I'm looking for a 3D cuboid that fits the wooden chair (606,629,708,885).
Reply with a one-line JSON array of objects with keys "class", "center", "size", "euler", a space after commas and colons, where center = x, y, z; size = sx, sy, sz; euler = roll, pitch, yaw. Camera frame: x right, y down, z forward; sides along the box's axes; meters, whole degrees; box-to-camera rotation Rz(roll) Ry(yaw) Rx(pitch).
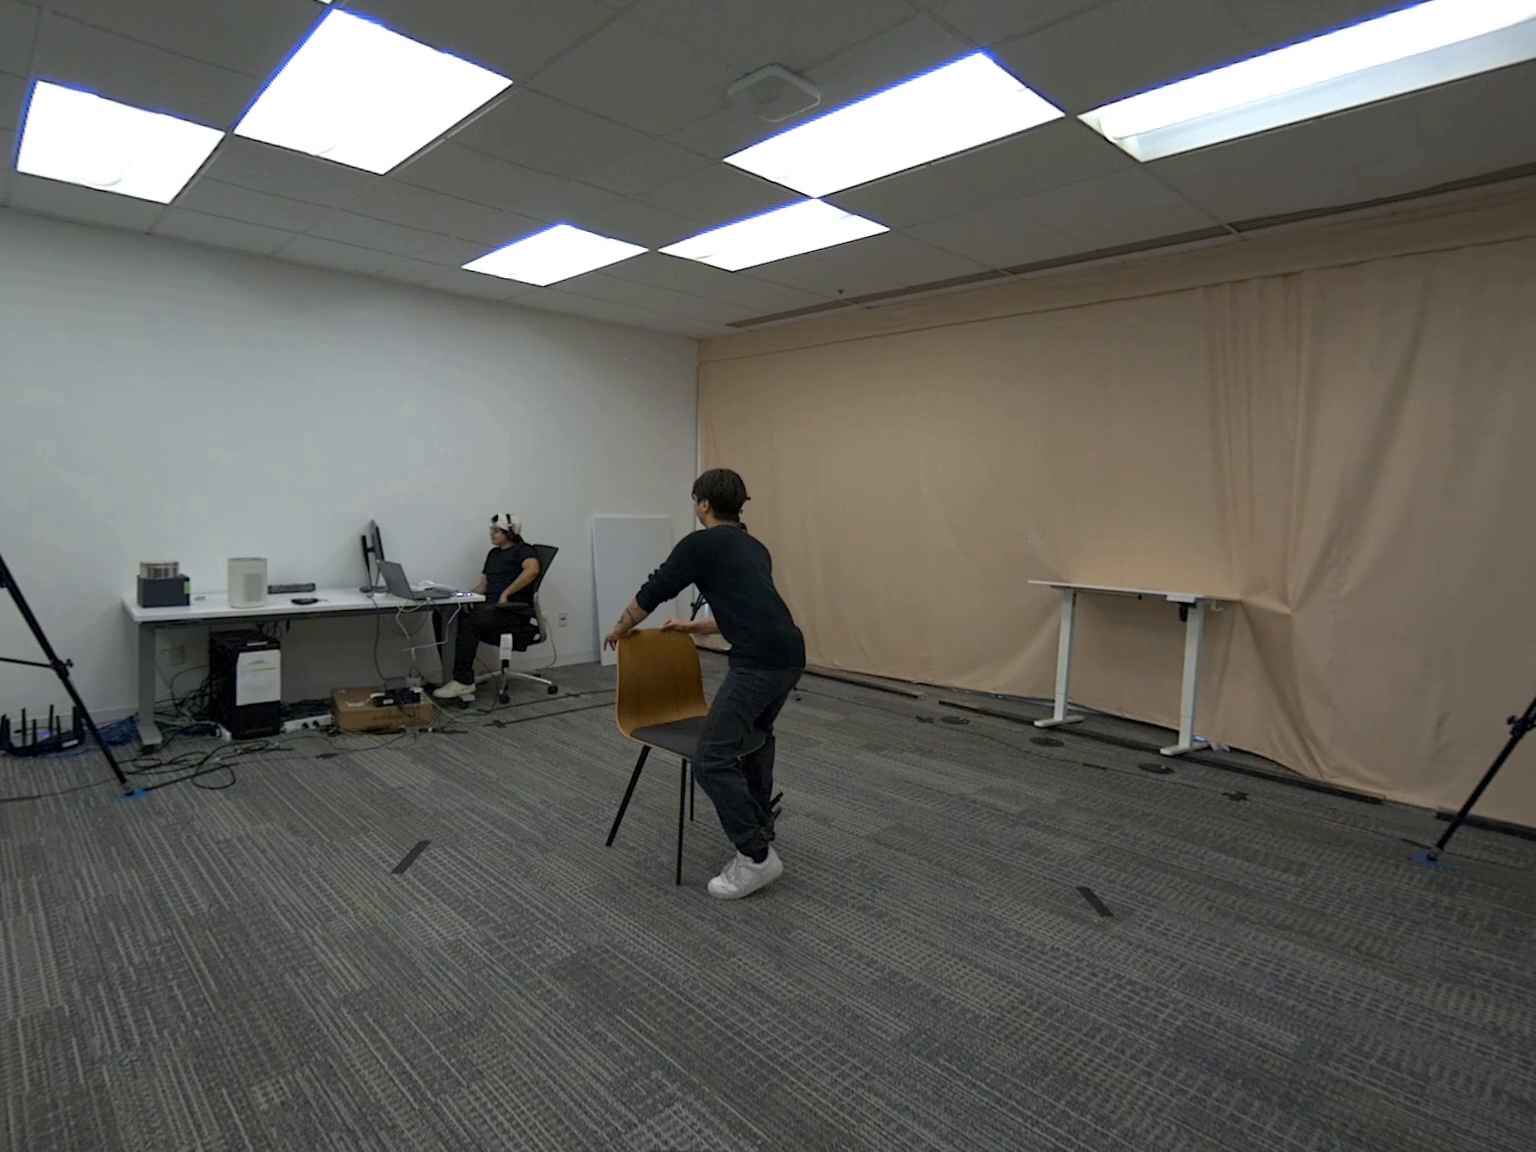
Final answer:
[{"class": "wooden chair", "center": [-0.312, 0.653, 3.298], "size": [0.467, 0.878, 0.535], "euler": [0, 0, -43]}]
